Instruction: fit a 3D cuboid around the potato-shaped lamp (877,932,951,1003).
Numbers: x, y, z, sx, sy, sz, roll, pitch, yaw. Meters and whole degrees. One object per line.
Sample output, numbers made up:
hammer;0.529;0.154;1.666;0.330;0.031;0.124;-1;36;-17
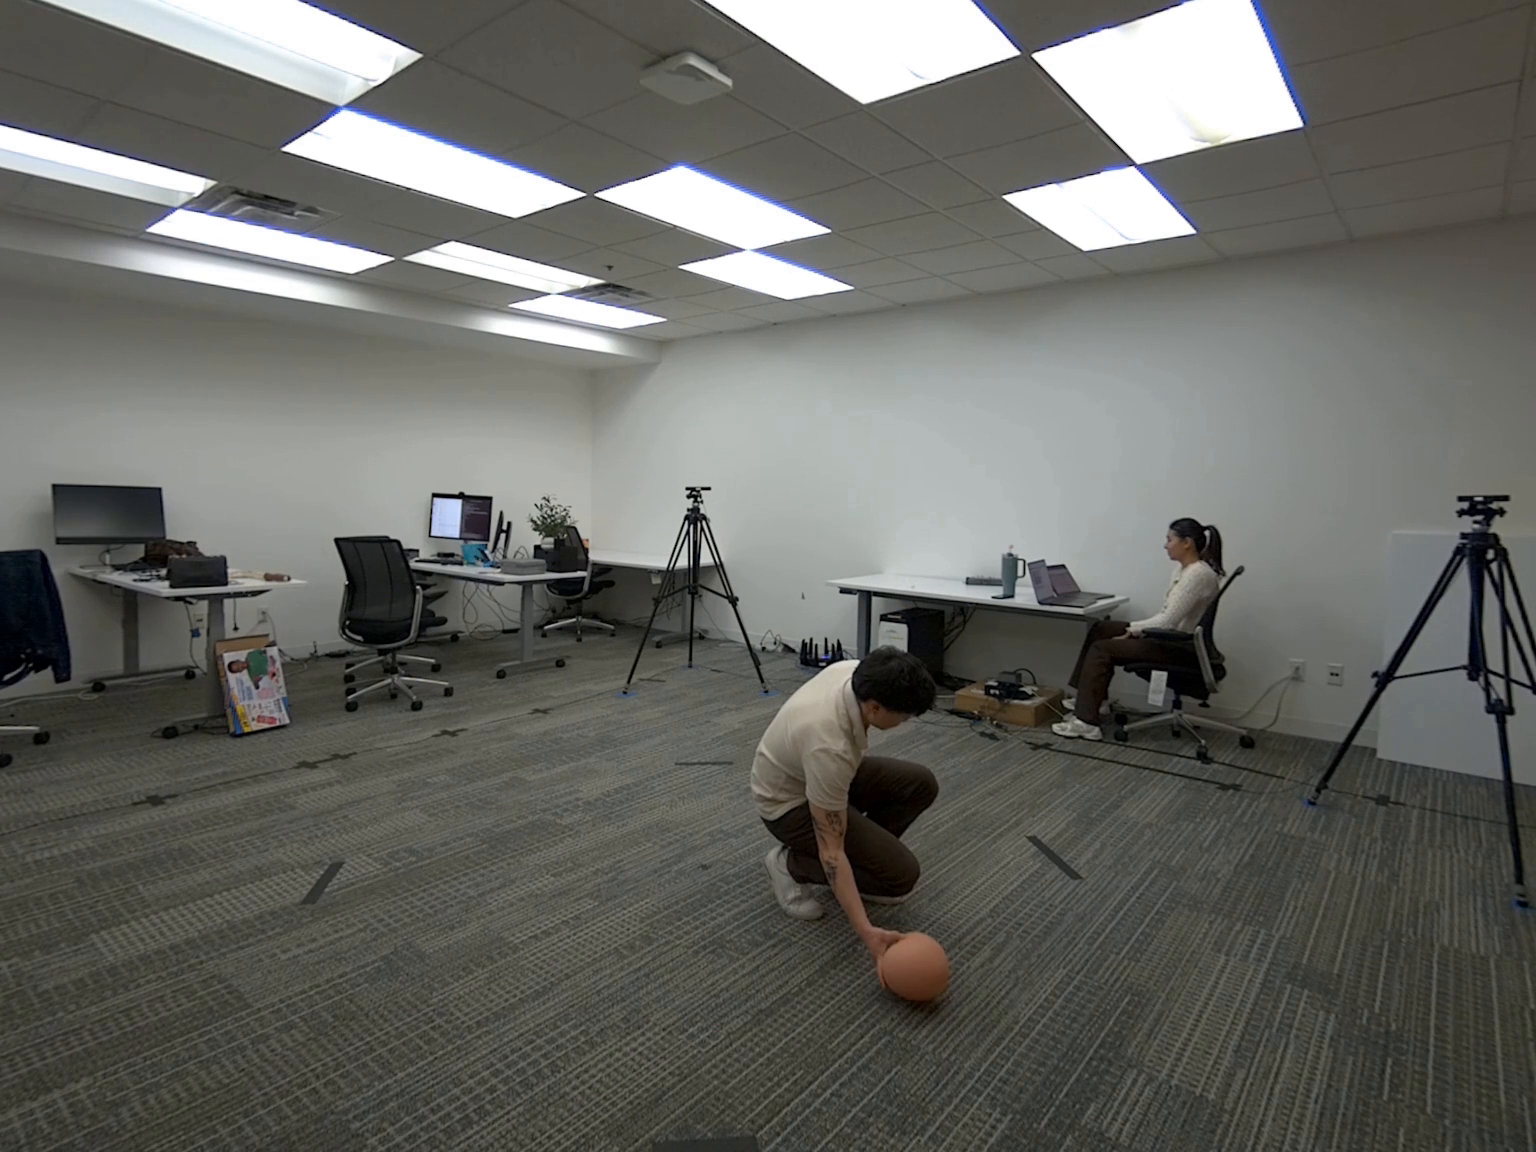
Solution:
potato-shaped lamp;0.394;1.062;2.321;0.177;0.165;0.190;10;-7;38
